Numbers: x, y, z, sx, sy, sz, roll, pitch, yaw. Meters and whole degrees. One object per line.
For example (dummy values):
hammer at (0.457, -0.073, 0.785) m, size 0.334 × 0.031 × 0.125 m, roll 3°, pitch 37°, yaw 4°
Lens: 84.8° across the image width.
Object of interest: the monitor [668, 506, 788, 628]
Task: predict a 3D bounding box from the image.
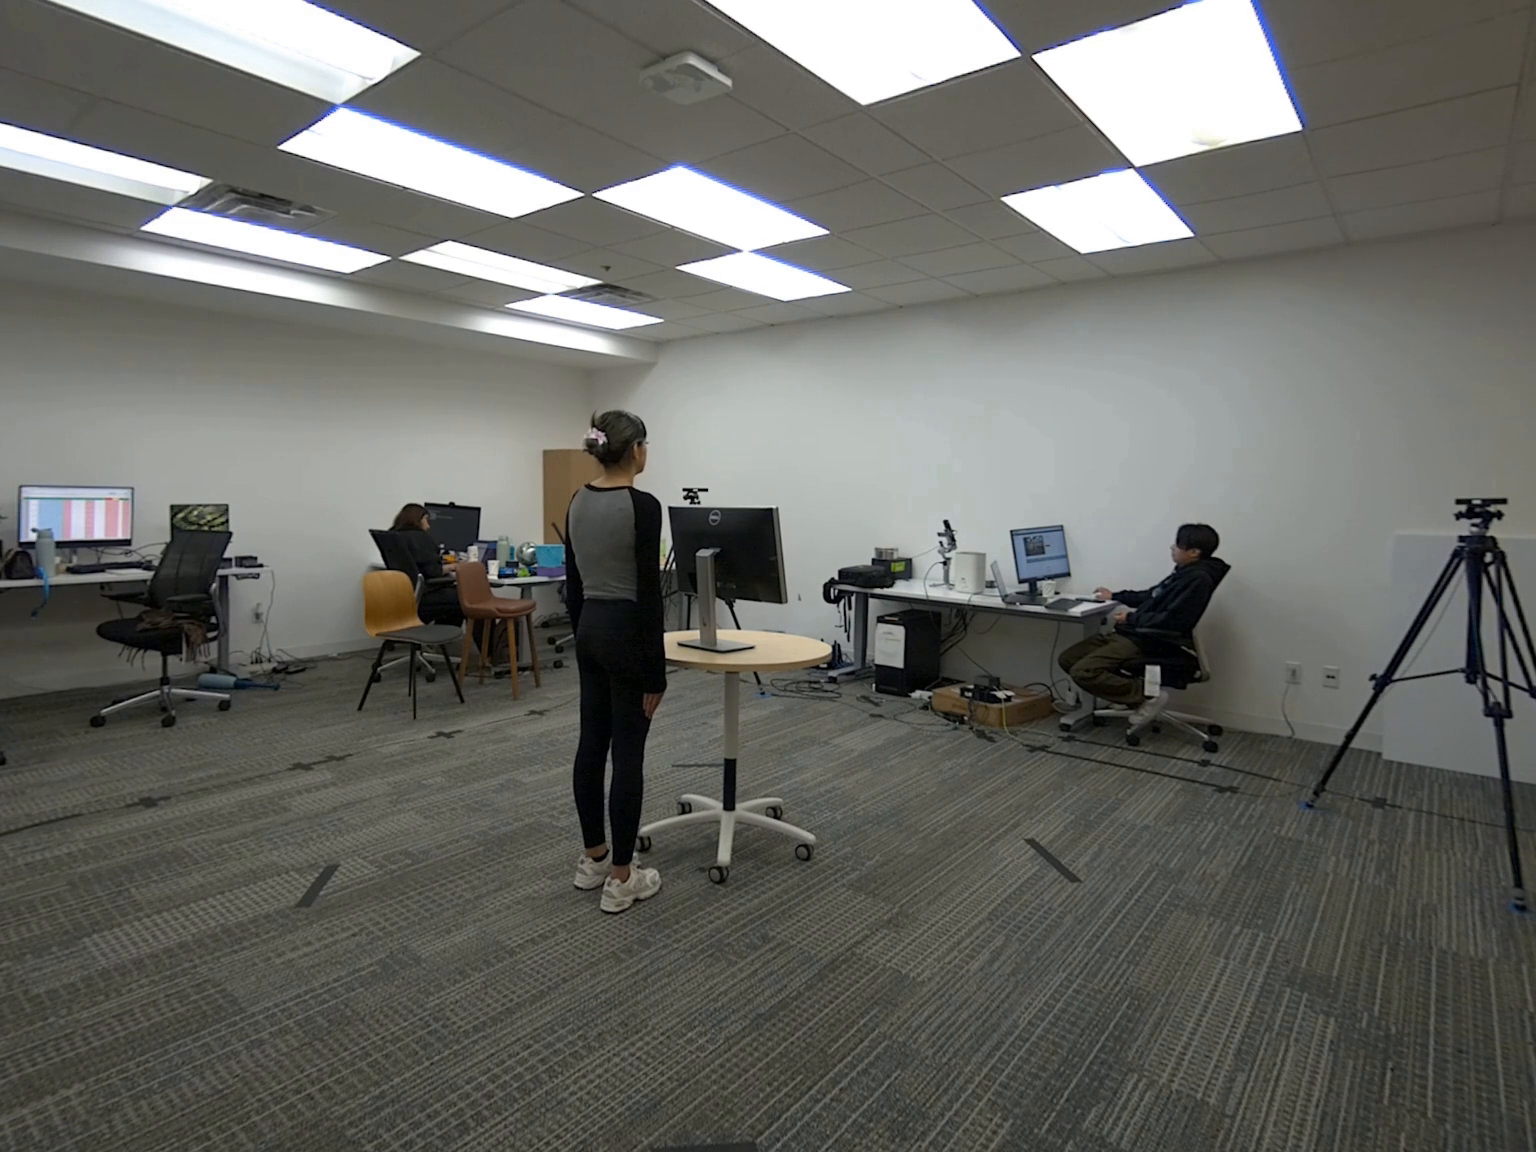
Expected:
monitor at (-0.204, 0.003, 3.251) m, size 0.557 × 0.522 × 0.181 m, roll 4°, pitch 2°, yaw 40°
